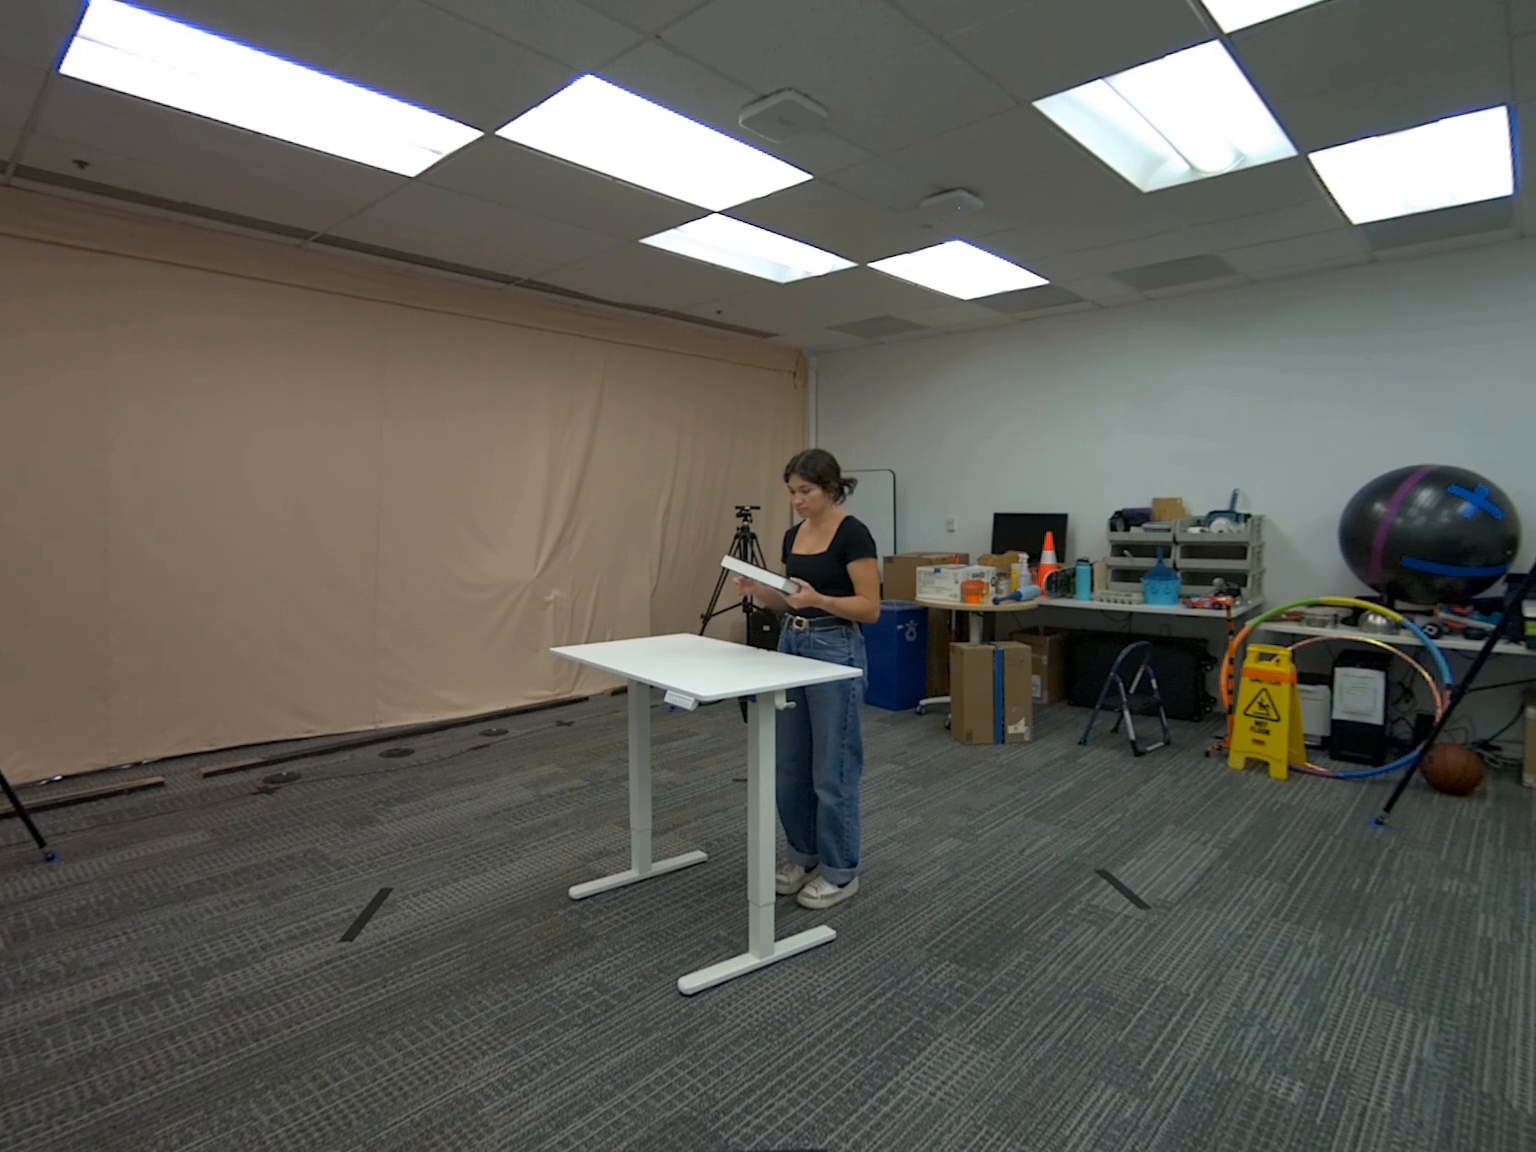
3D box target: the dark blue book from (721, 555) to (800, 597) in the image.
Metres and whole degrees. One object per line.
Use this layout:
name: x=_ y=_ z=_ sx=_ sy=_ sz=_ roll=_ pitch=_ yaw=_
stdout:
dark blue book: x=-0.020 y=-0.001 z=2.794 sx=0.252 sy=0.045 sz=0.159 roll=22 pitch=-2 yaw=25
